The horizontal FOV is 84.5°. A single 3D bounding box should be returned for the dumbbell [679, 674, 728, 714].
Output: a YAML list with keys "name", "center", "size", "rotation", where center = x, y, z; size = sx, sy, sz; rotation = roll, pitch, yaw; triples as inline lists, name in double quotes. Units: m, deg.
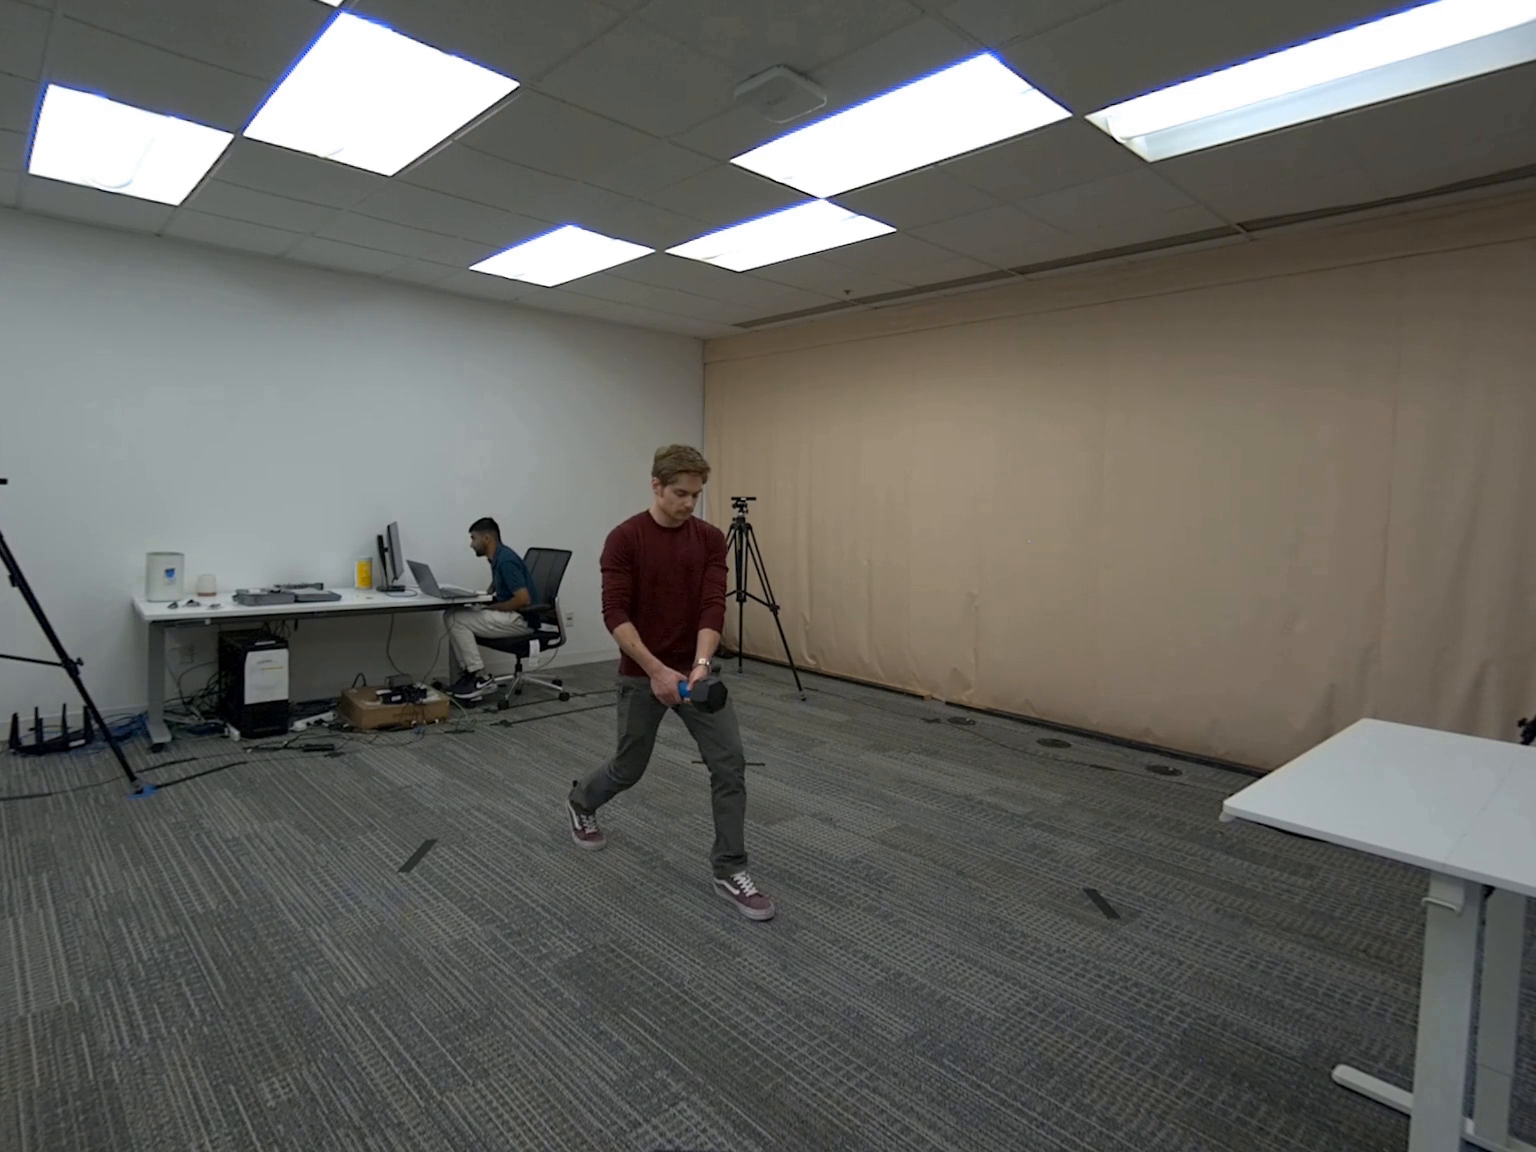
- name: "dumbbell"
  center: [-0.285, 0.394, 2.836]
  size: [0.300, 0.120, 0.109]
  rotation: [-2, 40, 46]
